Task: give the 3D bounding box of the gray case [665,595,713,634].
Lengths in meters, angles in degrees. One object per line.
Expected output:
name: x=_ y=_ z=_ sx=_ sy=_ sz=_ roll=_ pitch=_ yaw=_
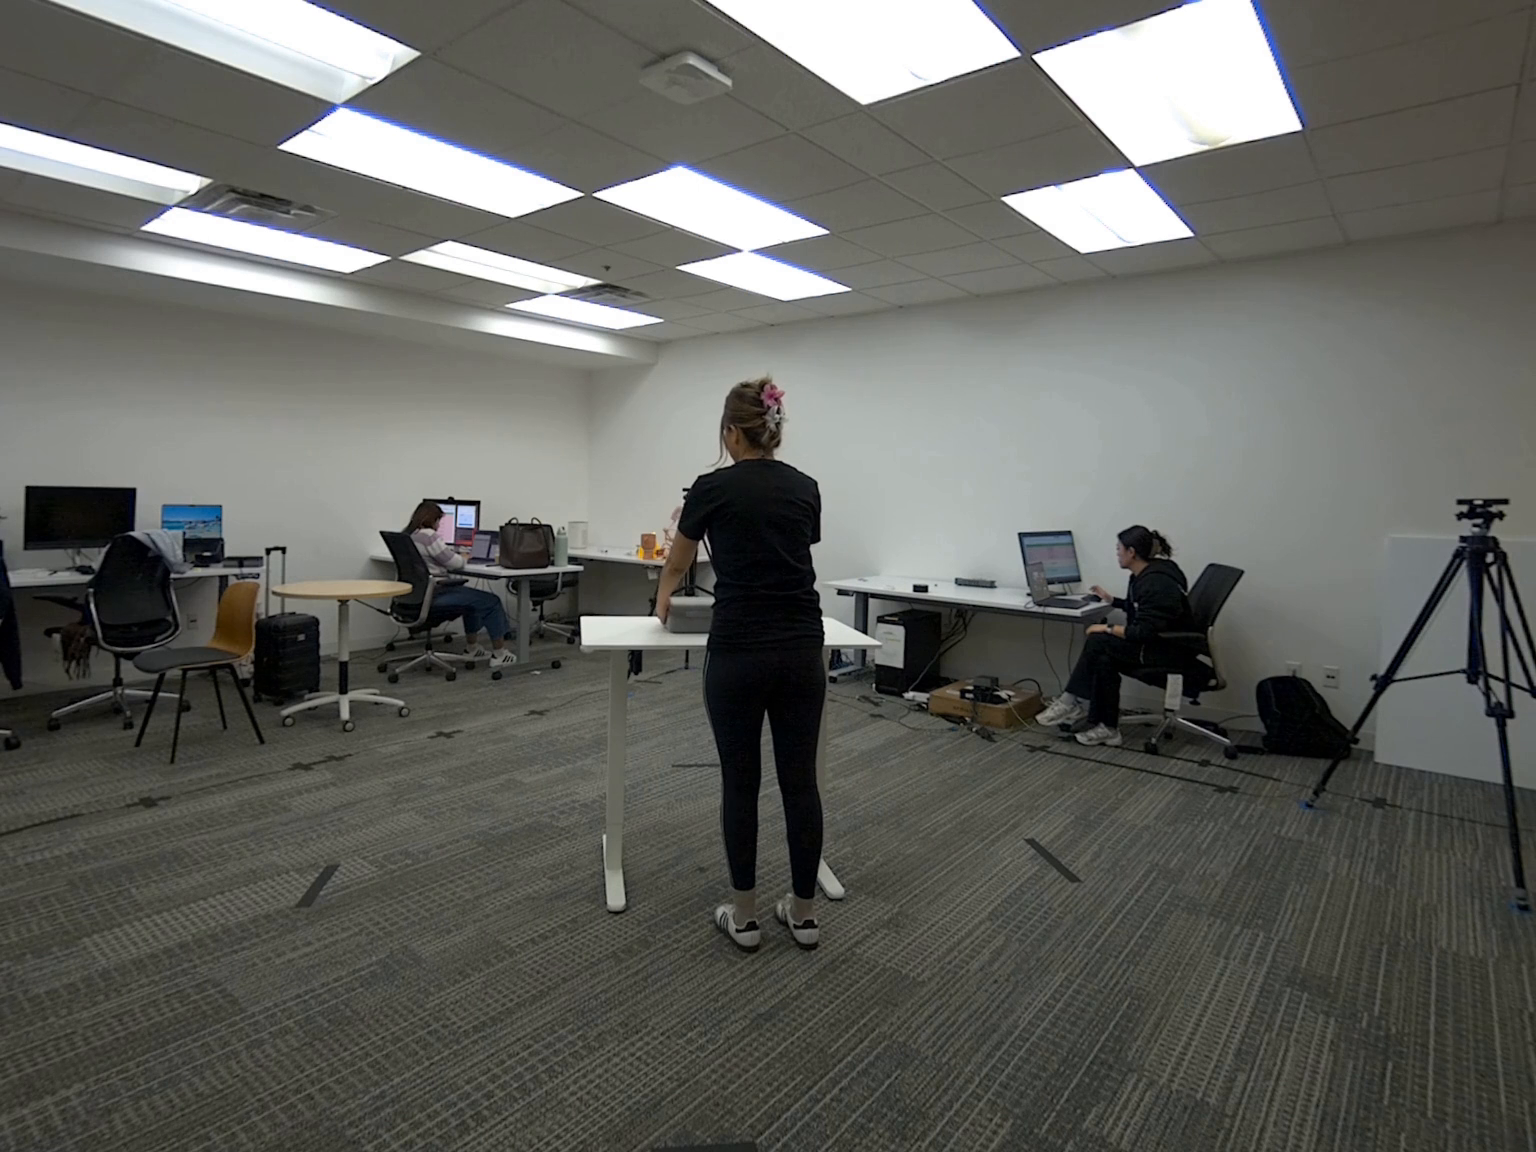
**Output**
gray case: x=-0.262 y=0.137 z=3.094 sx=0.254 sy=0.104 sz=0.264 roll=0 pitch=5 yaw=-11
